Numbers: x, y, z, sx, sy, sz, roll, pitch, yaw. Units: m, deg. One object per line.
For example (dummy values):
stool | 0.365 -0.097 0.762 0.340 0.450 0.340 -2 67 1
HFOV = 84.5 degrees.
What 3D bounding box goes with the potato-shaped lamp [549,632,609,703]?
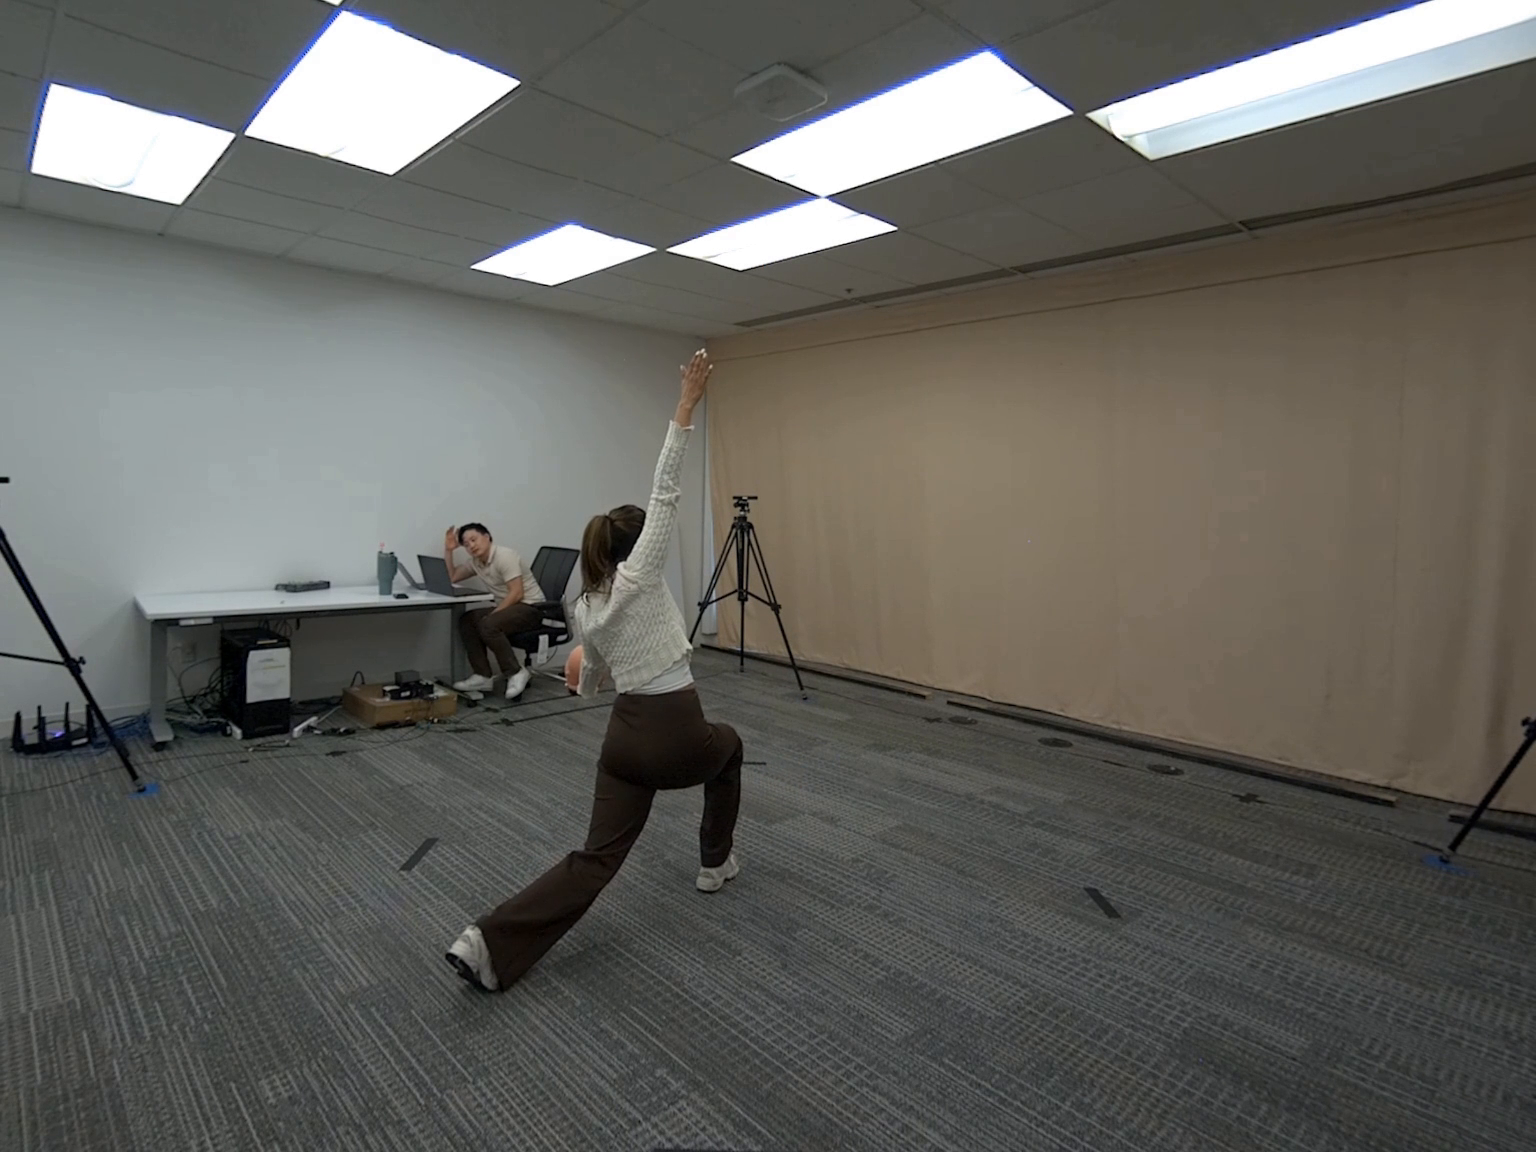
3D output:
potato-shaped lamp | -0.729 0.358 3.324 0.173 0.166 0.194 15 -33 8
